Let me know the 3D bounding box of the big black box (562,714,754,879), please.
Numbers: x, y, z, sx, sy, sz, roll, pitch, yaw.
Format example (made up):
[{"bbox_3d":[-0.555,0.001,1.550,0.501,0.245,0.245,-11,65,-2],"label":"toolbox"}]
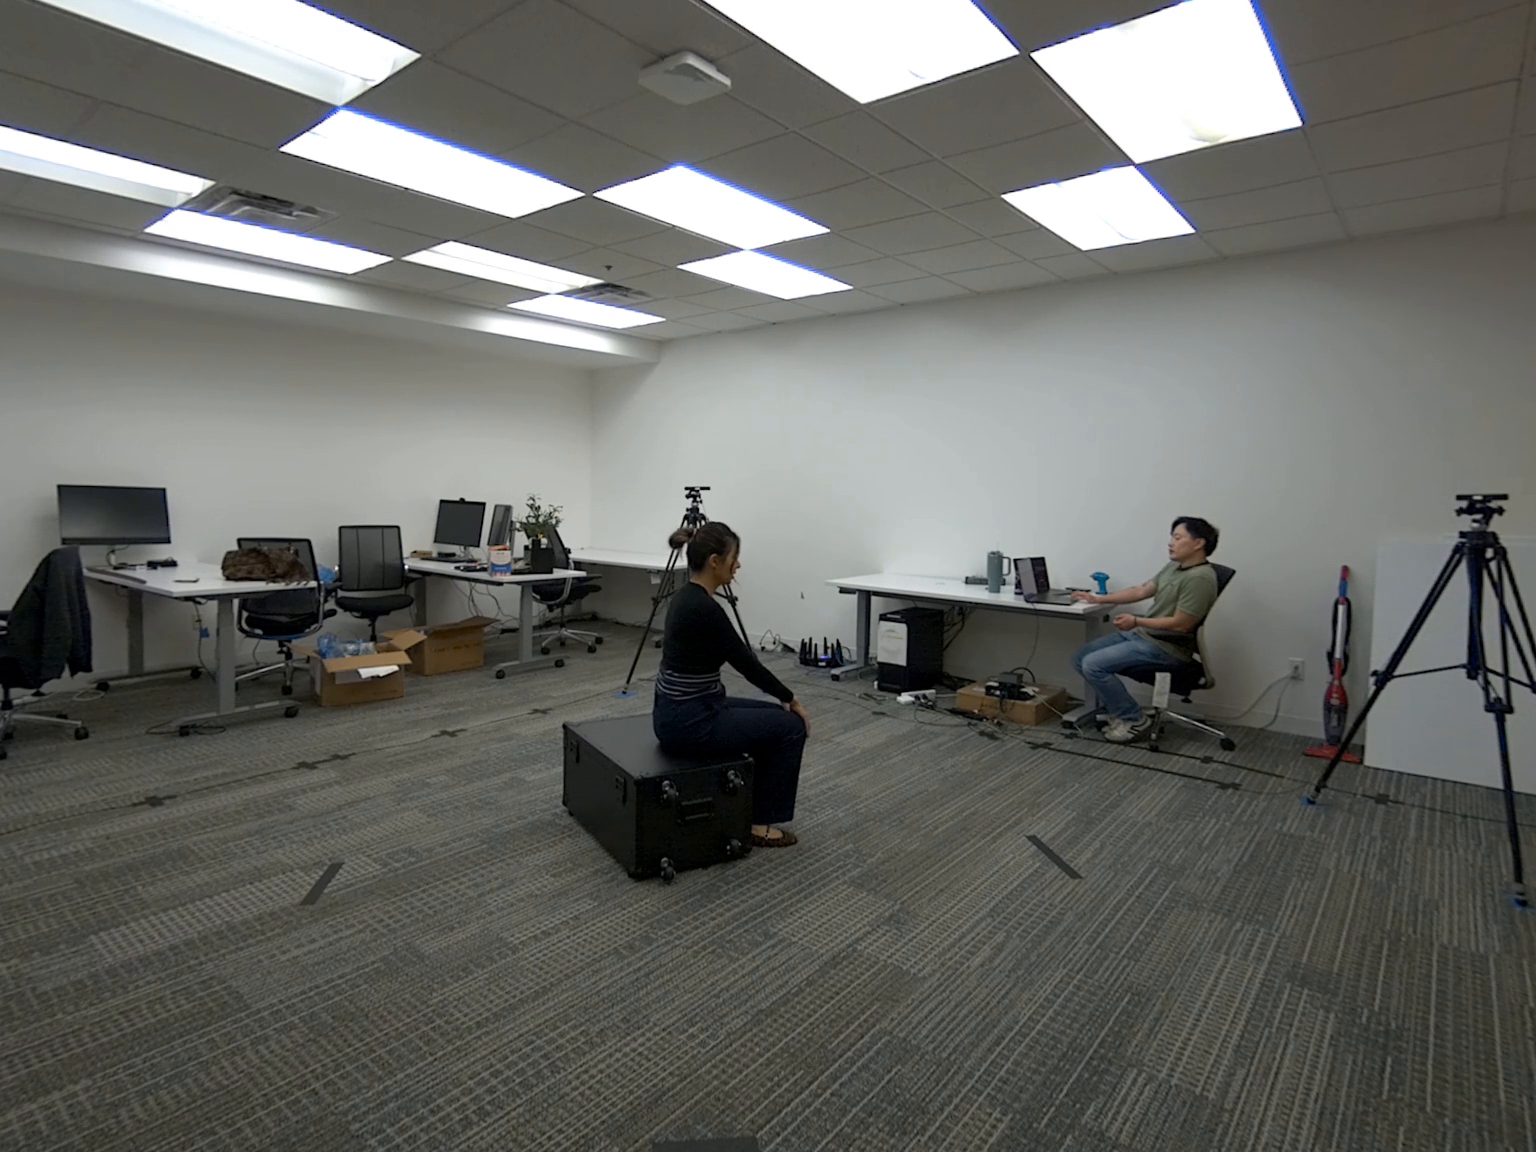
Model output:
[{"bbox_3d":[-0.494,0.838,3.441,0.507,0.395,0.889,-2,6,-32],"label":"big black box"}]
